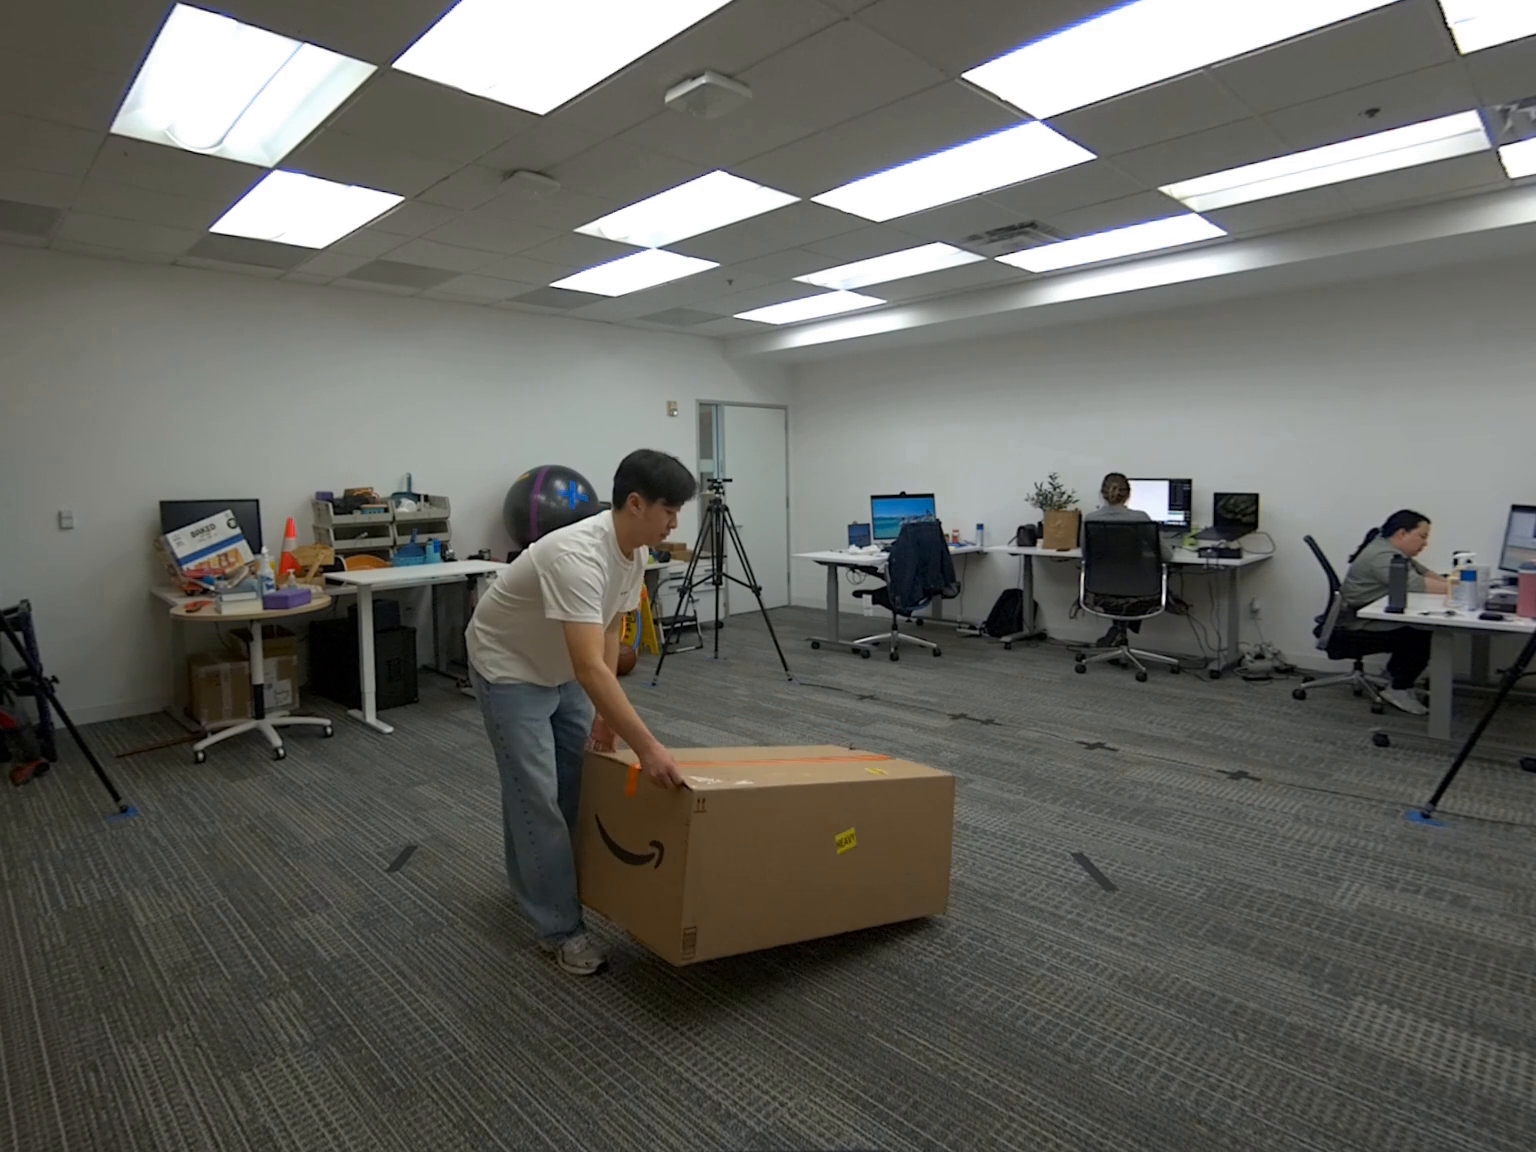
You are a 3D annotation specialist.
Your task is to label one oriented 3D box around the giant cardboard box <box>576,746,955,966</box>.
[{"bbox_3d":[0.006,0.781,2.619,0.994,0.428,0.593,8,-5,-37],"label":"giant cardboard box"}]
